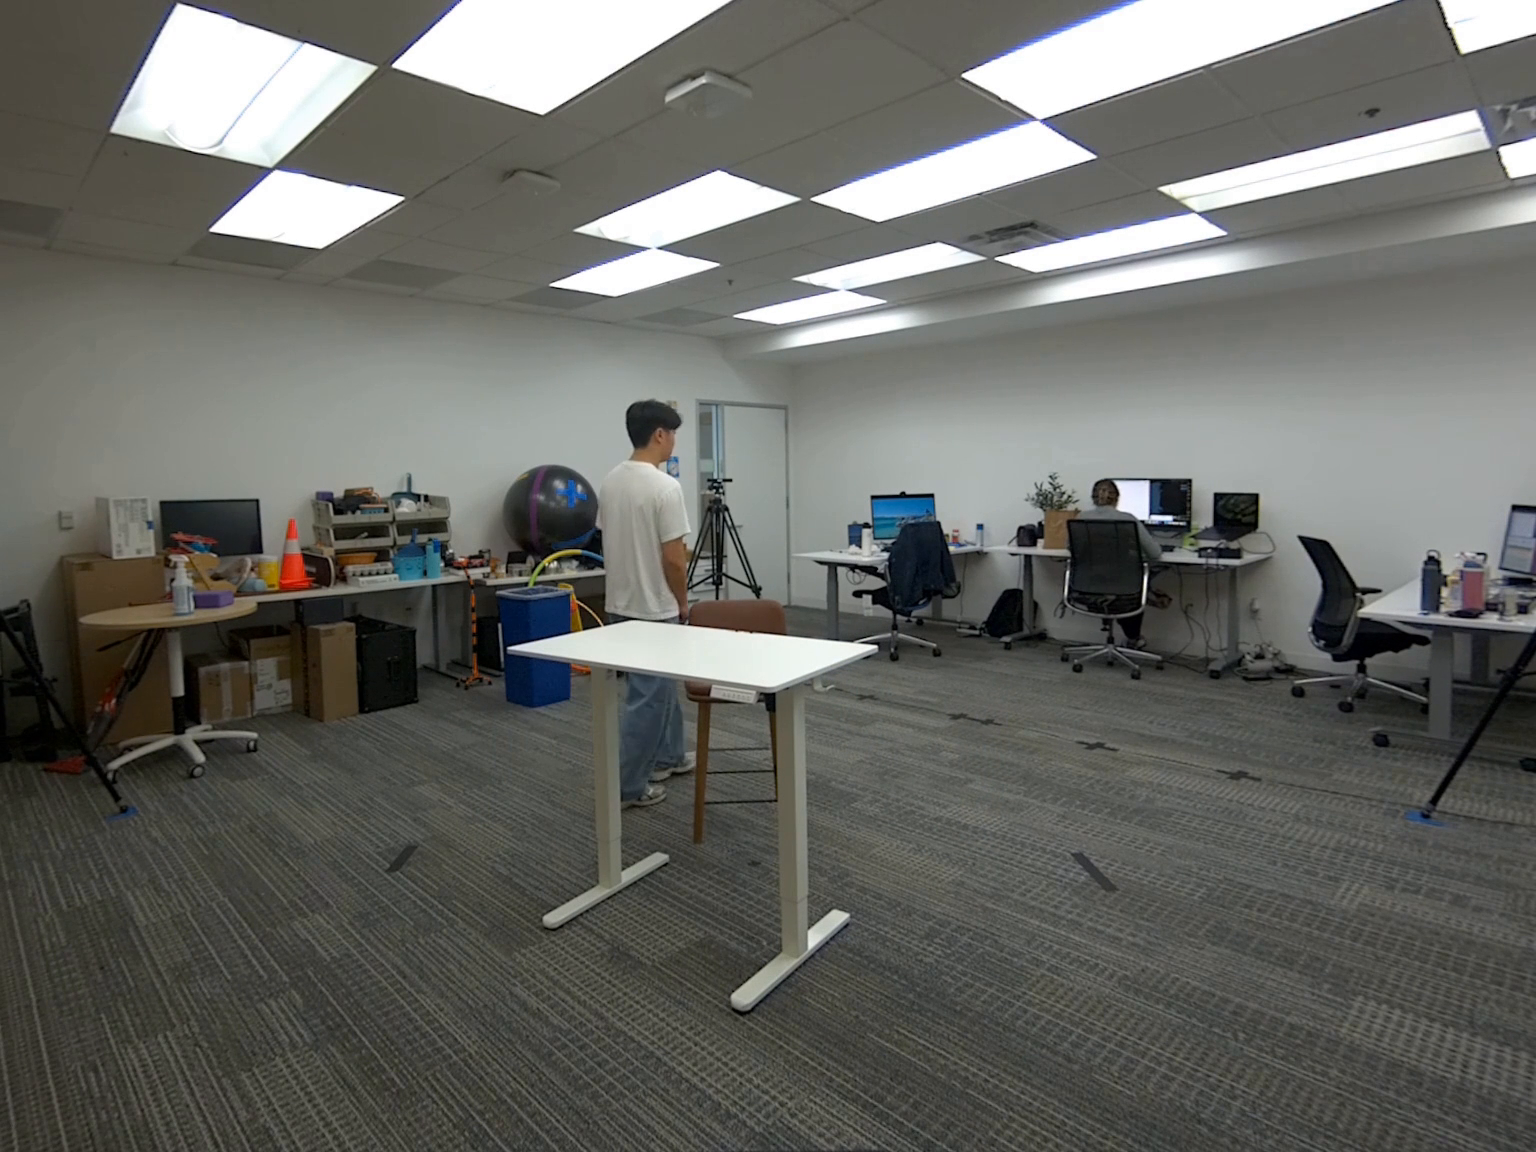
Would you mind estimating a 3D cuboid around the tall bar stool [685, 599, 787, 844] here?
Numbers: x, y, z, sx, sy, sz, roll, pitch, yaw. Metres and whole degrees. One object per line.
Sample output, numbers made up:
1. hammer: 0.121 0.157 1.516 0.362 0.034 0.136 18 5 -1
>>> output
1. tall bar stool: -0.103 0.568 3.492 0.455 0.889 0.469 -1 2 -3
